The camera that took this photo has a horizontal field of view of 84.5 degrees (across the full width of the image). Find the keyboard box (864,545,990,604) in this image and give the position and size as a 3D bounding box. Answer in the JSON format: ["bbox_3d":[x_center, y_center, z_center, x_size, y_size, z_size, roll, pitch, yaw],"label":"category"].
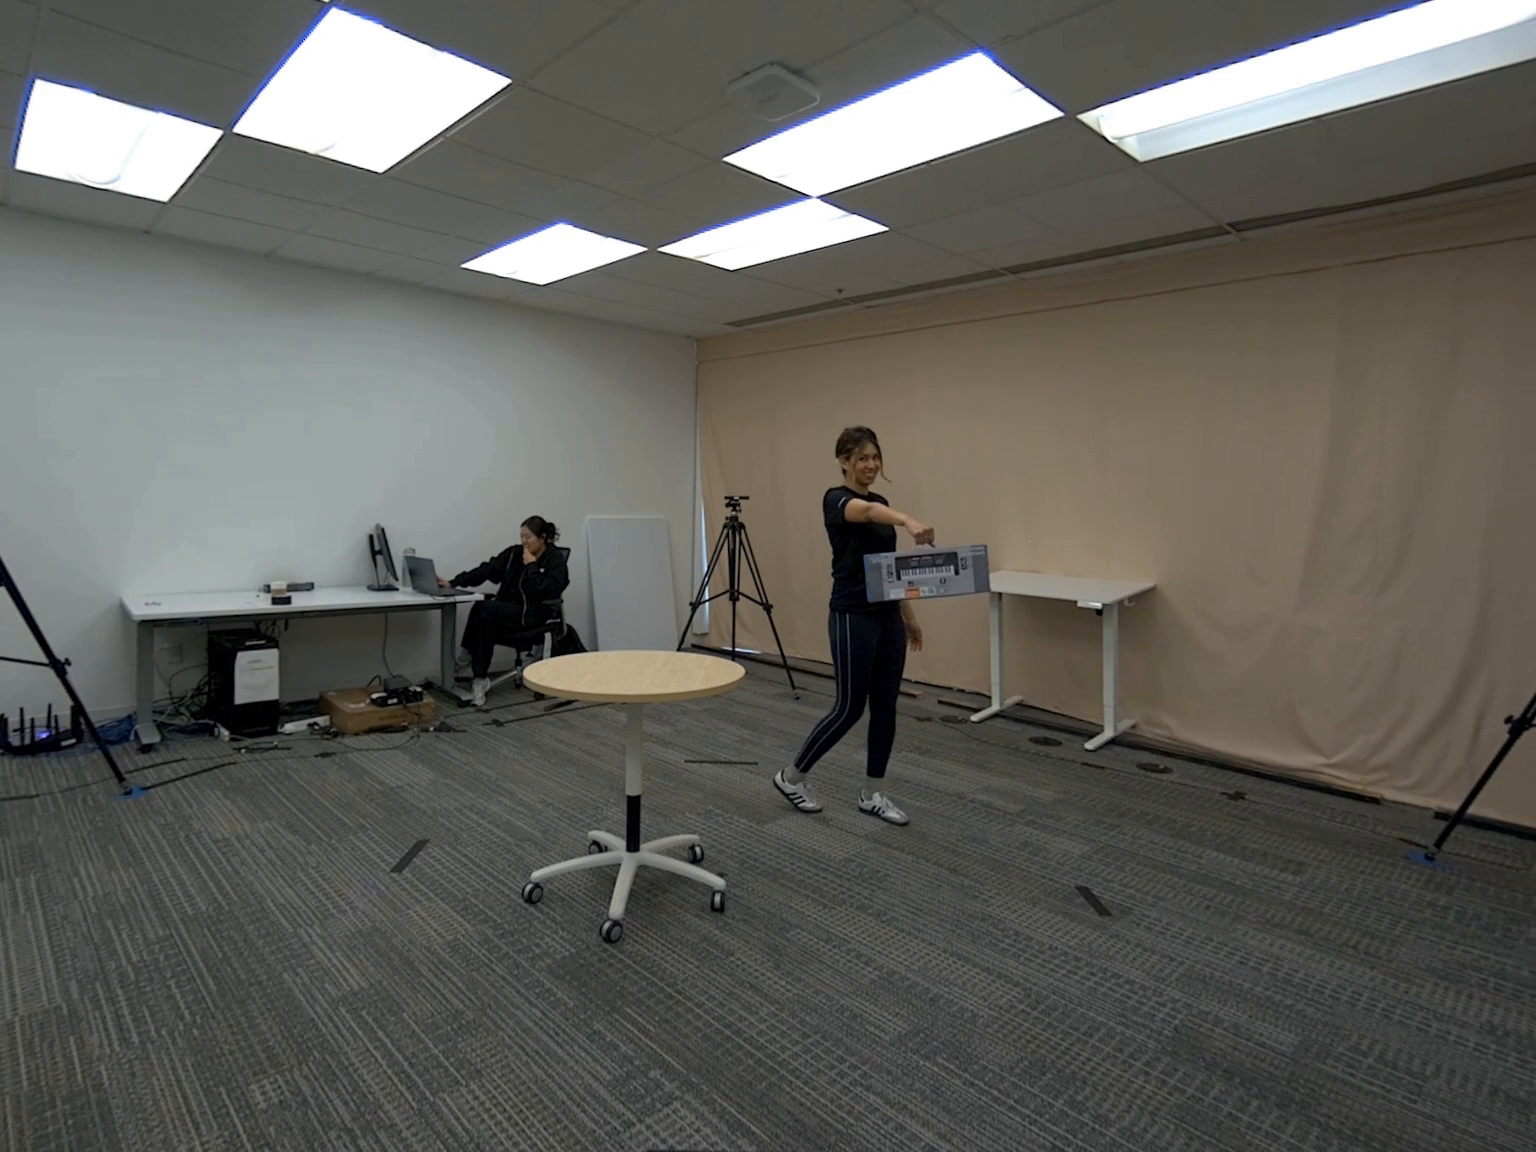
[{"bbox_3d":[0.565,-0.011,3.053,0.437,0.176,0.059,-5,2,2],"label":"keyboard box"}]
